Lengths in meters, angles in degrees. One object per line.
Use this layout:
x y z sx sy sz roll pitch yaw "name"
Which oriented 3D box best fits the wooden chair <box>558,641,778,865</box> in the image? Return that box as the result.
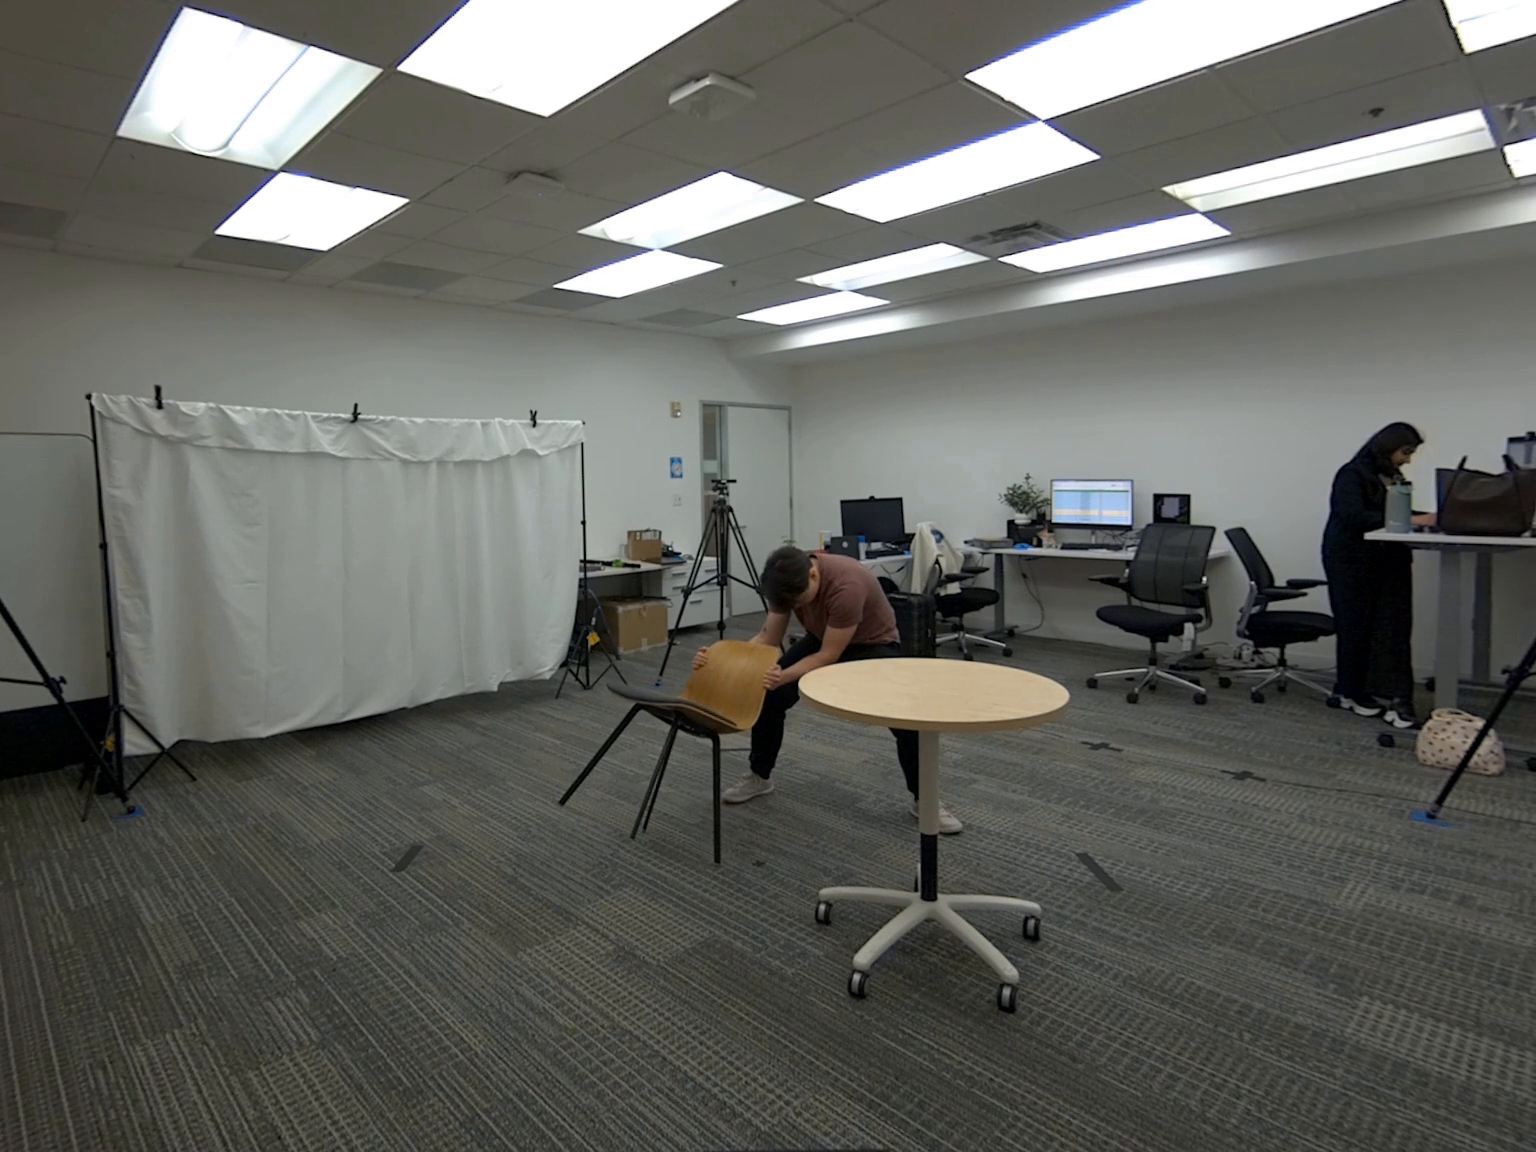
-0.340 0.548 3.223 0.493 0.884 0.503 4 -26 46 "wooden chair"
